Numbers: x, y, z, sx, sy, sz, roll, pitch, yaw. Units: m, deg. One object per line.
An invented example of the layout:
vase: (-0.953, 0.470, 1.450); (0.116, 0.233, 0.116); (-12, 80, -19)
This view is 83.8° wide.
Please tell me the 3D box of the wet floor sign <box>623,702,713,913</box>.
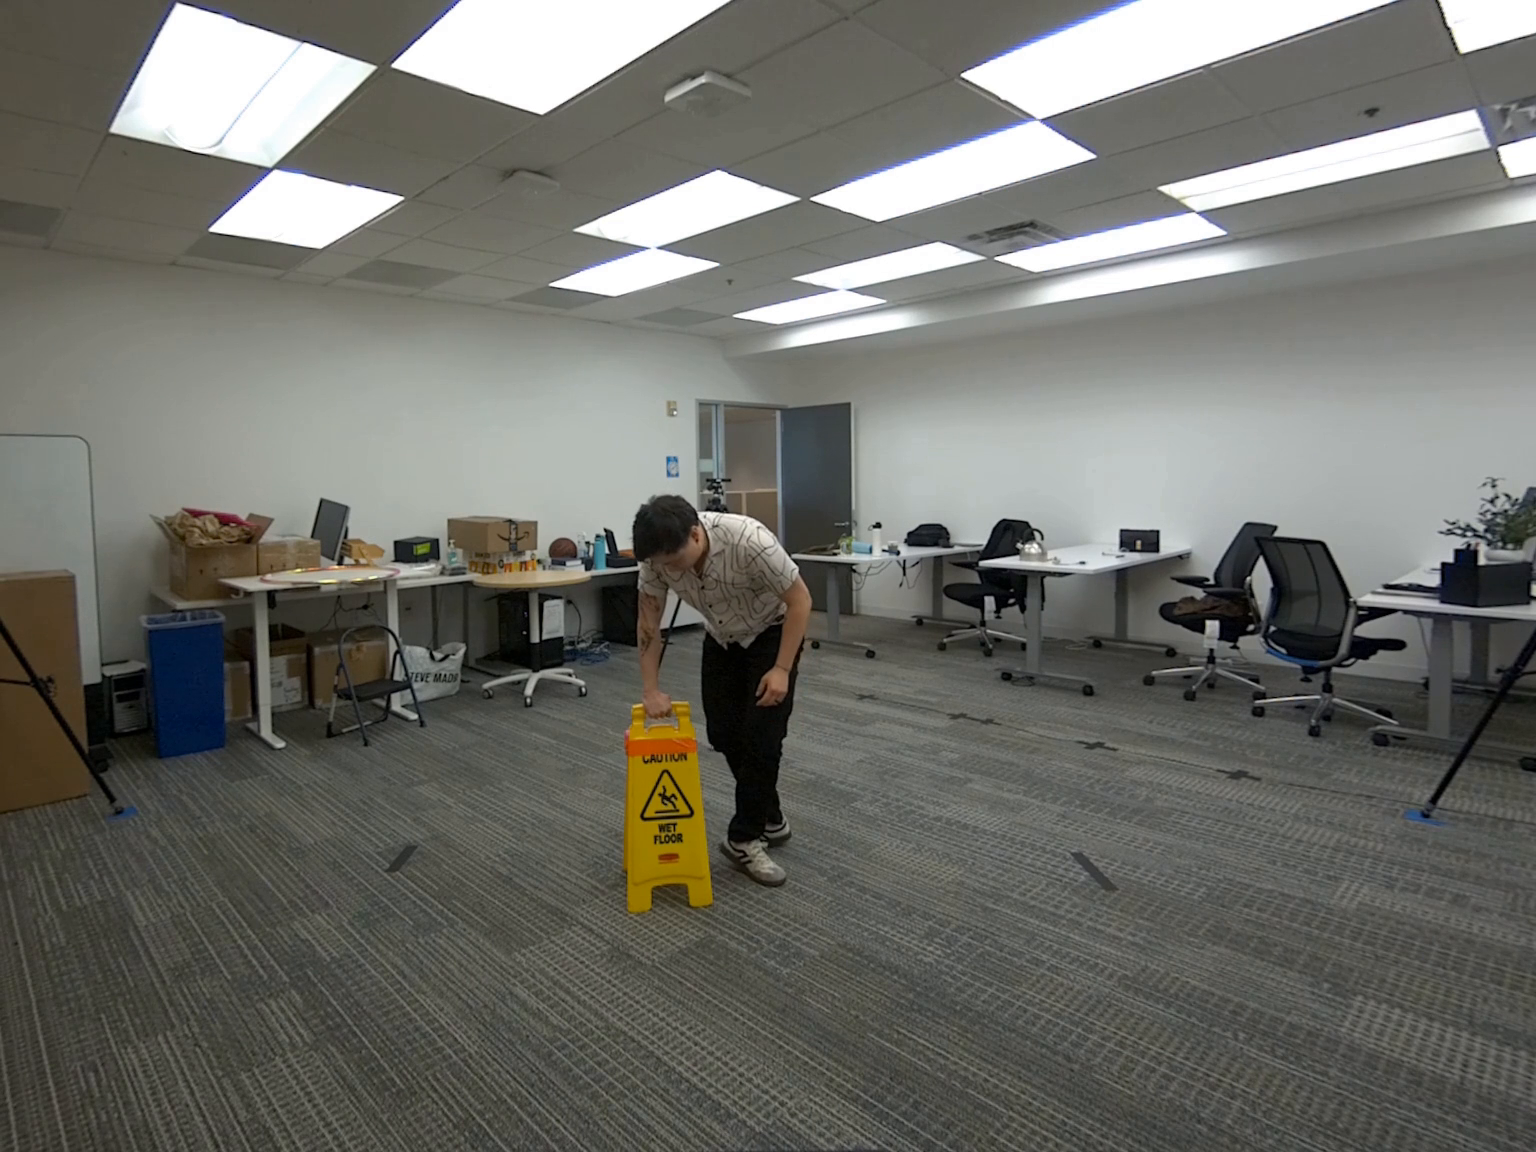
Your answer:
wet floor sign: (-0.351, 0.746, 2.912); (0.280, 0.643, 0.294); (-2, 4, -10)
